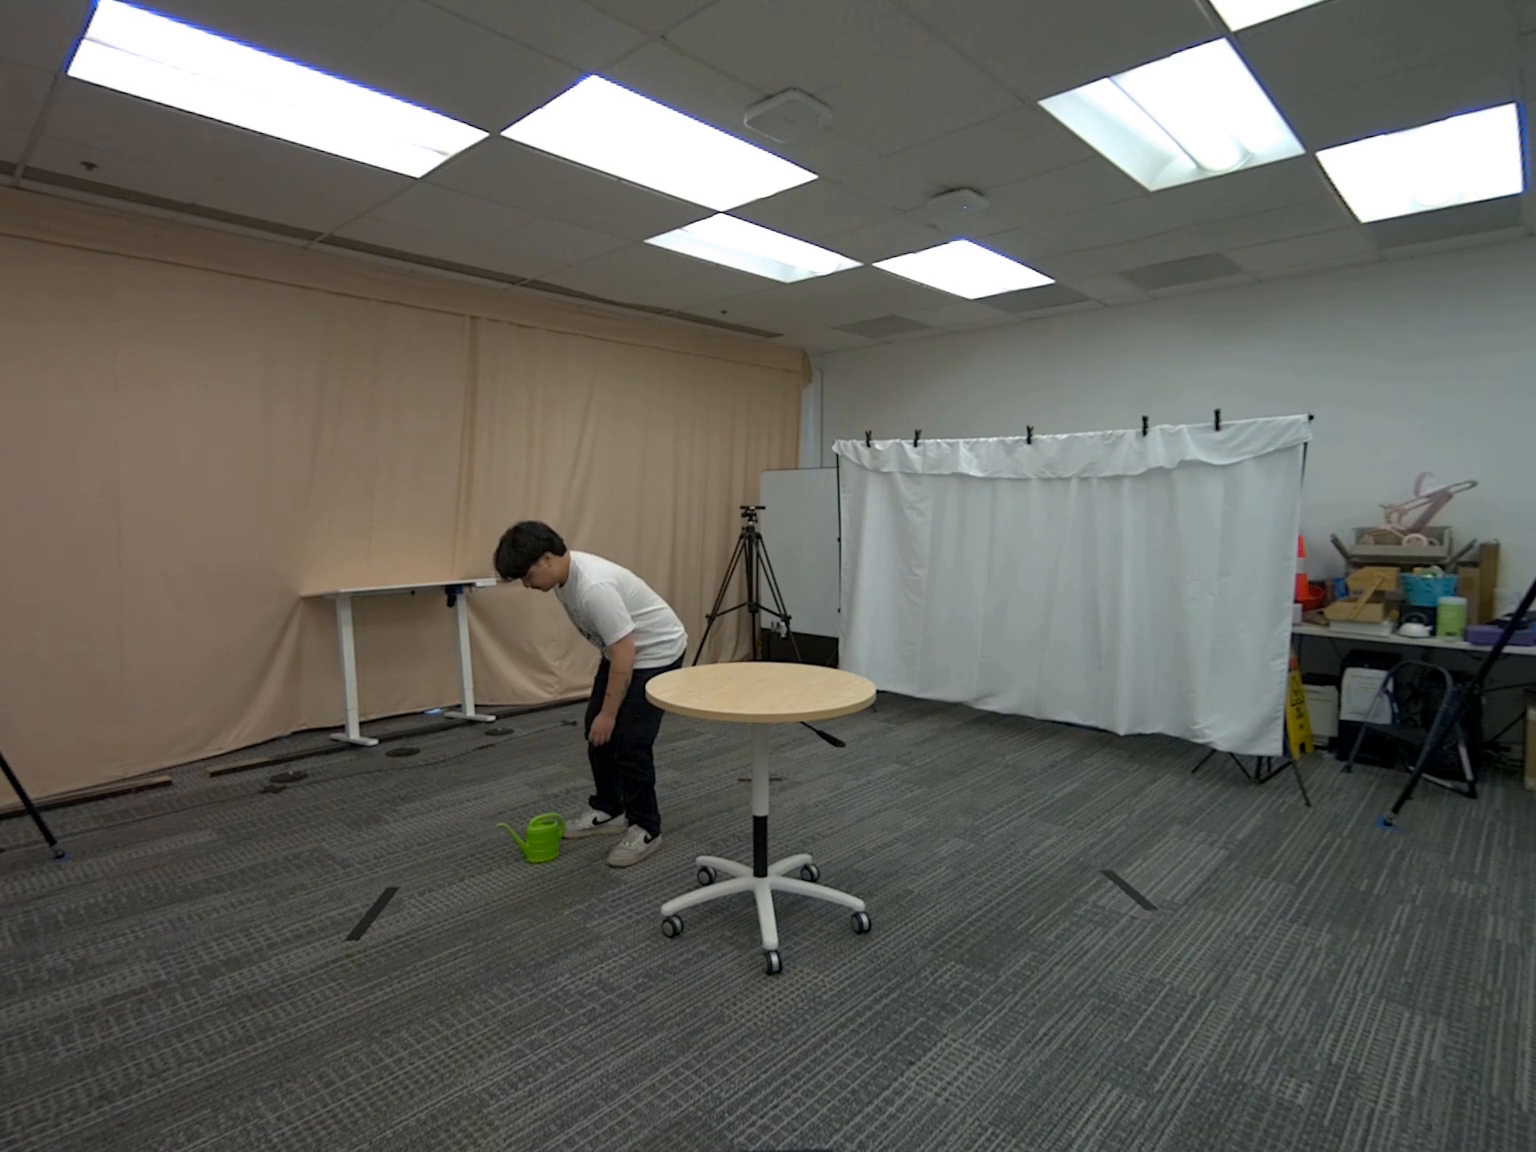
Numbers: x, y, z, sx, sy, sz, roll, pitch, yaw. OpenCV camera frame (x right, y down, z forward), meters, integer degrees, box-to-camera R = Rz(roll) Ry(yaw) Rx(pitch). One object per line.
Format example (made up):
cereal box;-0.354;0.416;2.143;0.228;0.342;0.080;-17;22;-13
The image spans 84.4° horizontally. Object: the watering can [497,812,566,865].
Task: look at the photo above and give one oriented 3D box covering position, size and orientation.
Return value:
watering can;-0.945;1.037;3.332;0.273;0.176;0.100;0;3;-18
